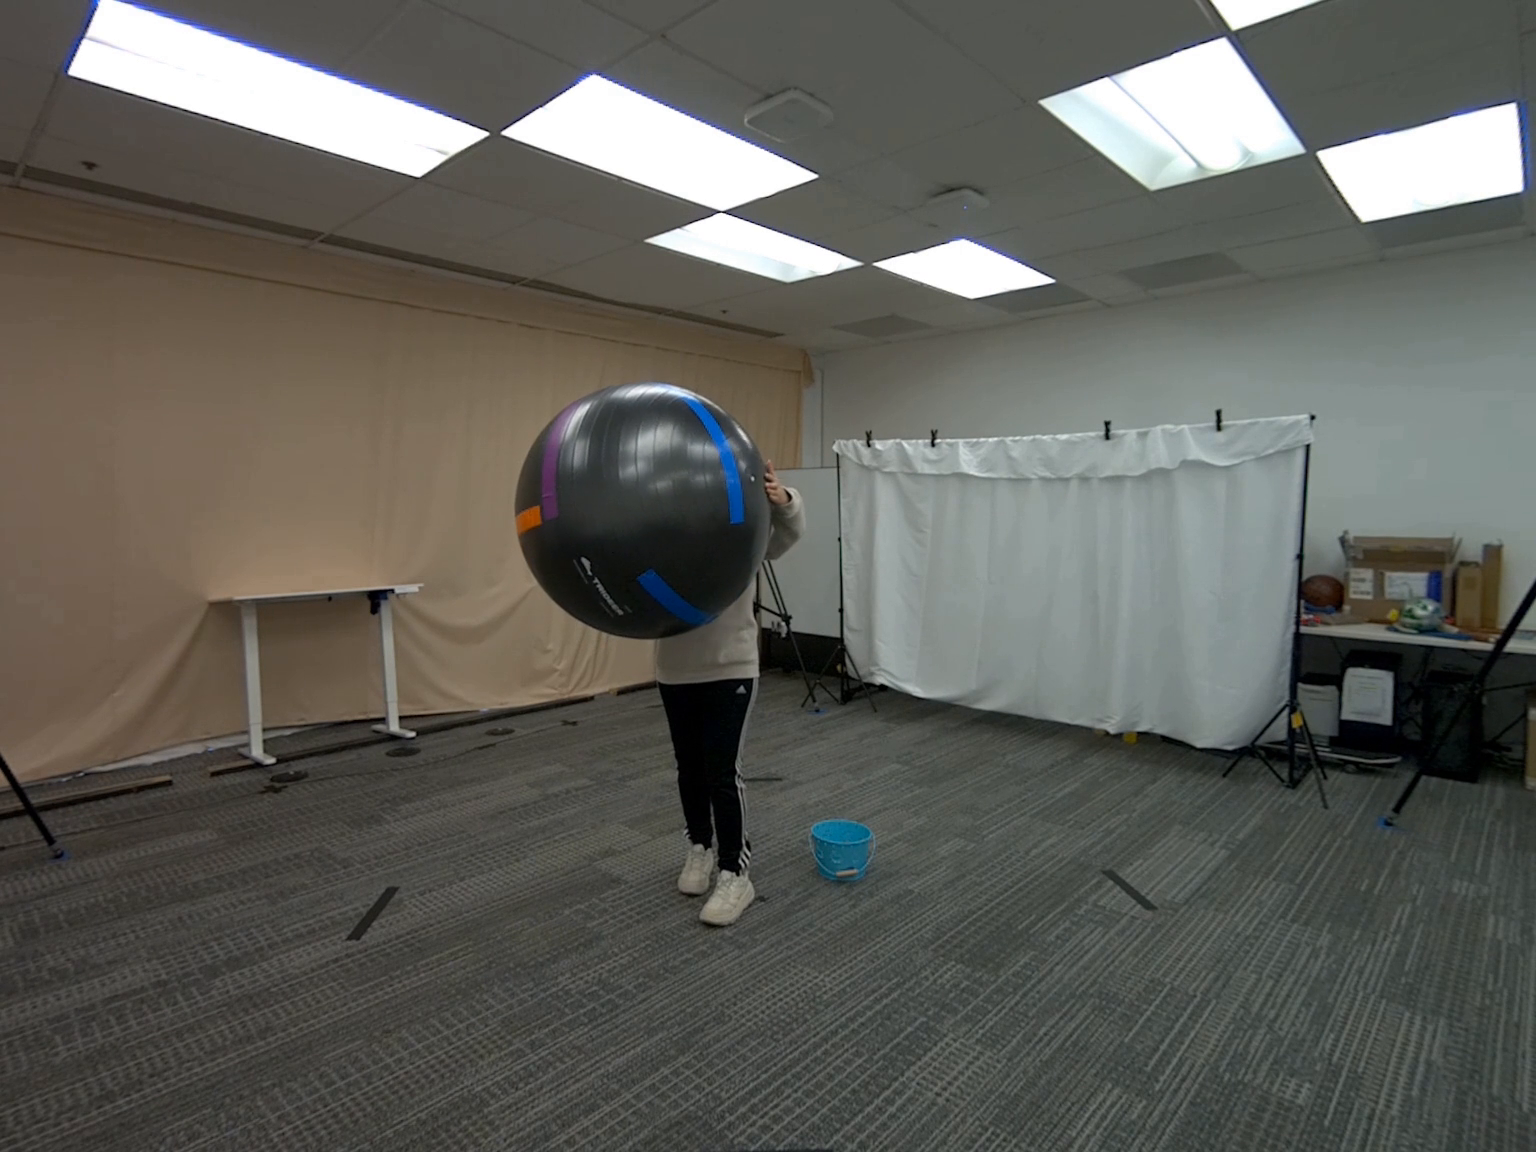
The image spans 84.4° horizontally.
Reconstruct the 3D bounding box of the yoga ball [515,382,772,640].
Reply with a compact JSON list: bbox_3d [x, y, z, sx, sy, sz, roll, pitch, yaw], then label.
[{"bbox_3d":[-0.364,-0.183,2.489,0.757,0.756,0.761,0,4,-2],"label":"yoga ball"}]
